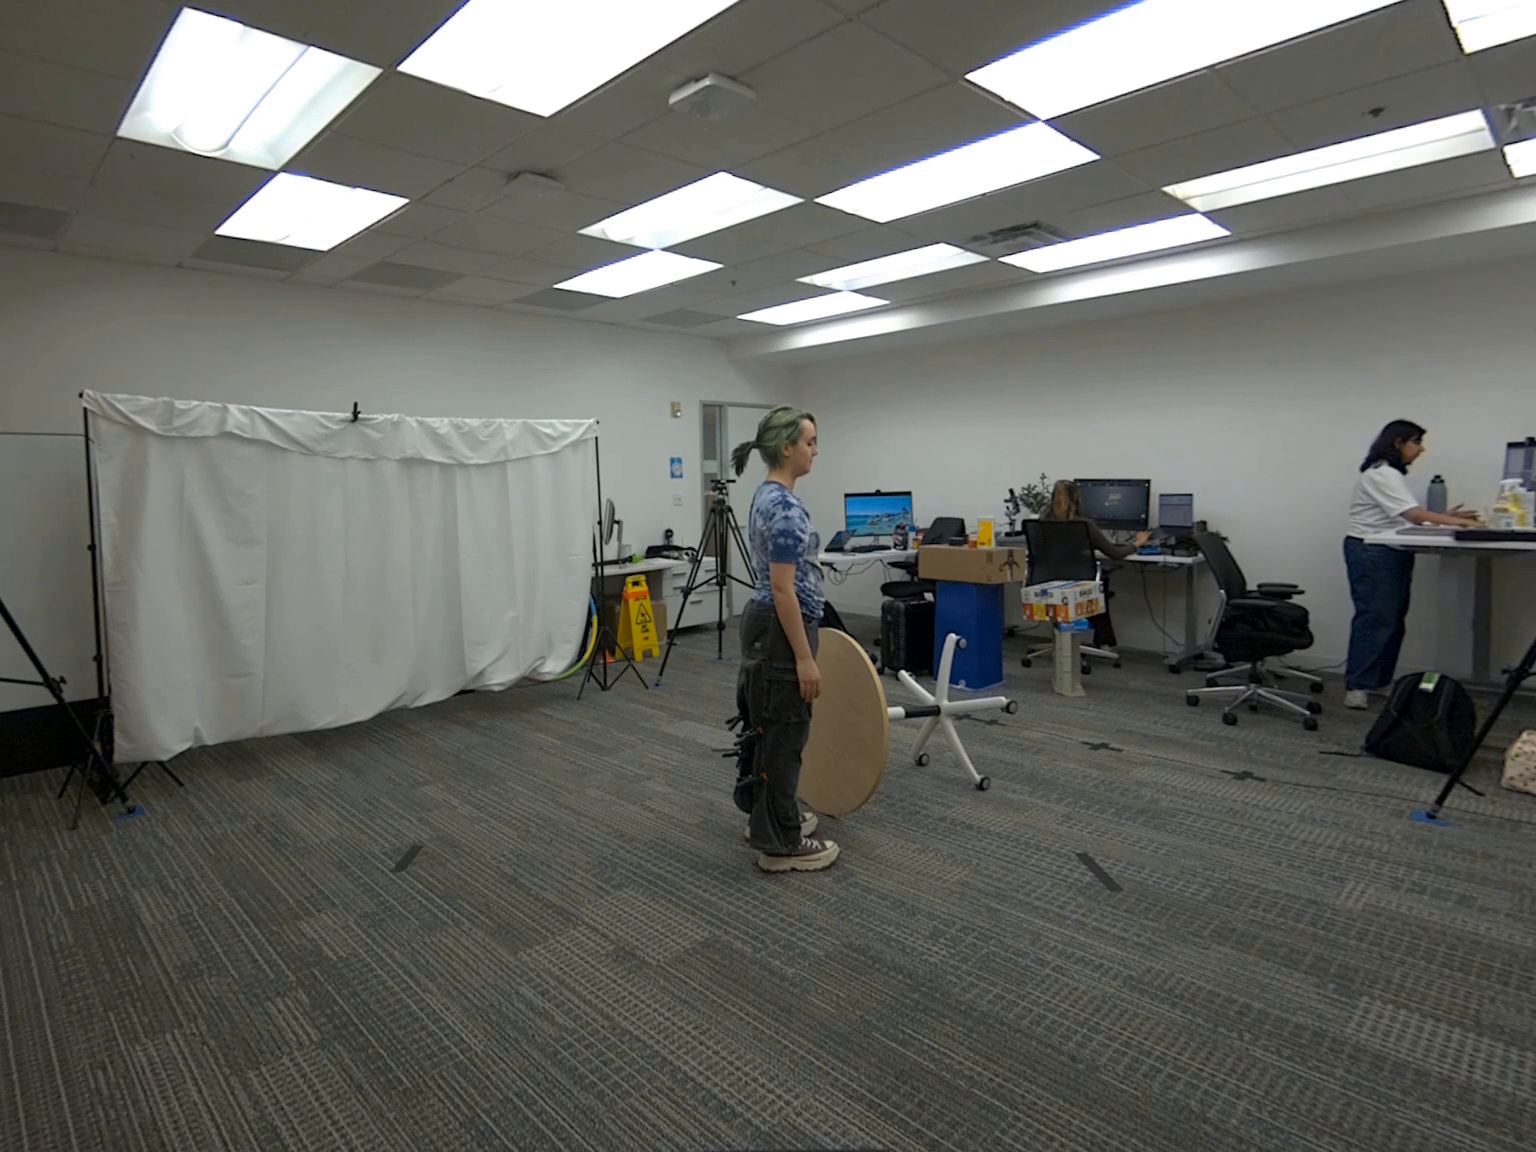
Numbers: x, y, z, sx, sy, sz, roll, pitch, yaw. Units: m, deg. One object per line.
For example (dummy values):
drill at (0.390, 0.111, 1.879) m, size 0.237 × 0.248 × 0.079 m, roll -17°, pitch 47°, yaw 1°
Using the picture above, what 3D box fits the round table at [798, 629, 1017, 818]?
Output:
round table at (0.568, 0.619, 3.790) m, size 0.773 × 0.763 × 0.785 m, roll 3°, pitch 2°, yaw -32°
